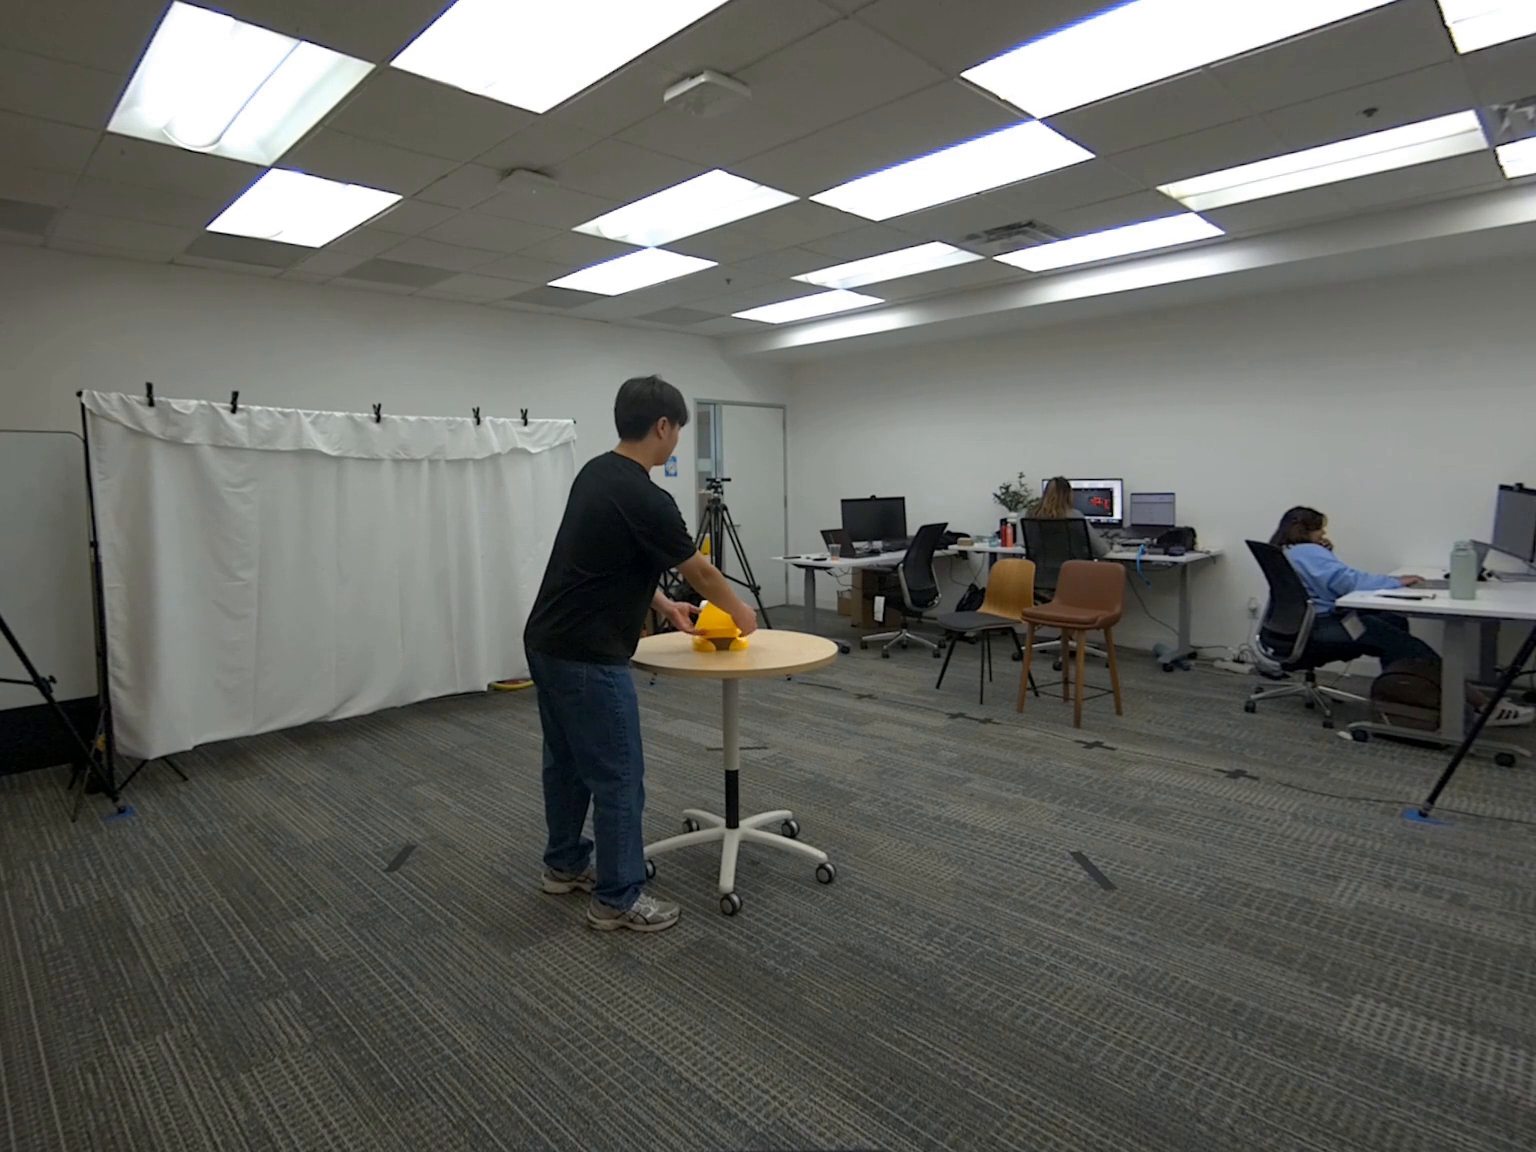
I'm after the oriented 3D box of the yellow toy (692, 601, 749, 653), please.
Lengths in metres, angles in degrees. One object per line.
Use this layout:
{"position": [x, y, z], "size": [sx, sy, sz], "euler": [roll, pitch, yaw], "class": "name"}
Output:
{"position": [-0.169, 0.137, 3.053], "size": [0.203, 0.229, 0.195], "euler": [-1, 6, -8], "class": "yellow toy"}
